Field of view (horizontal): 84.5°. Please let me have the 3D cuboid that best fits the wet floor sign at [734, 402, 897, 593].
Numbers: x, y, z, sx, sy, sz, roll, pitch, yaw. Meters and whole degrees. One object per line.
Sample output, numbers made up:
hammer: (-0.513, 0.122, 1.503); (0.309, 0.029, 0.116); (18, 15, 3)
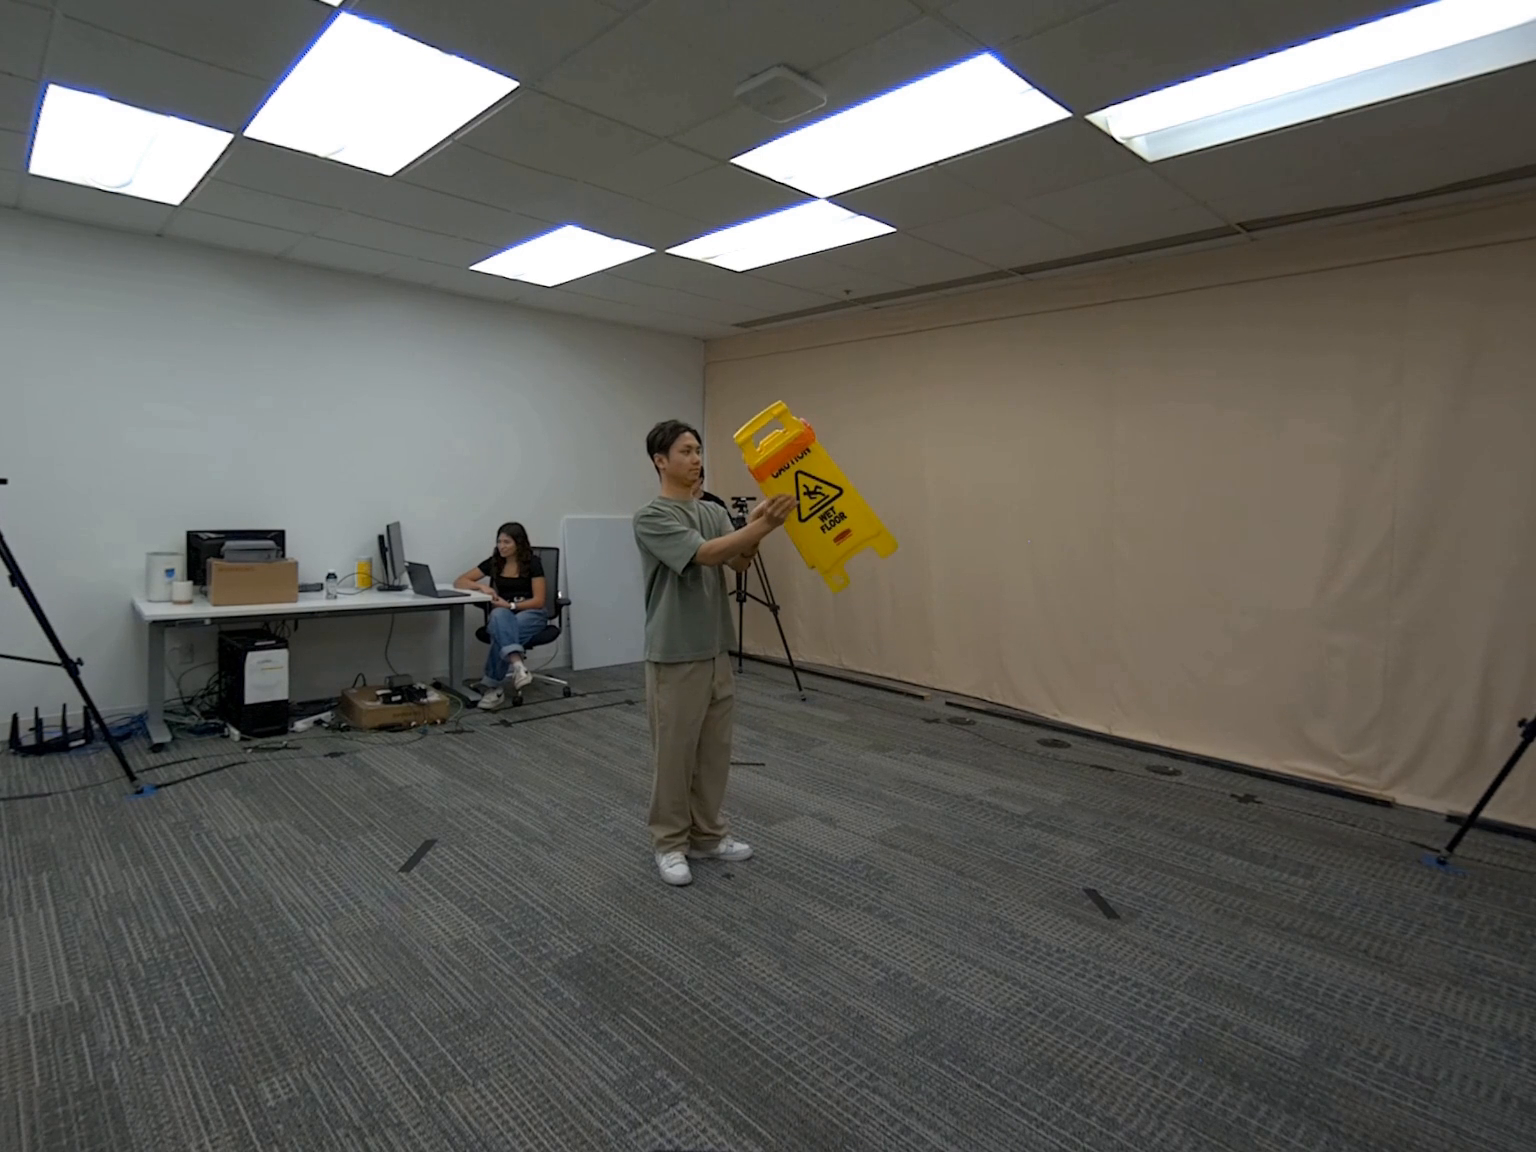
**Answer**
wet floor sign: (0.127, -0.281, 2.835); (0.282, 0.629, 0.297); (-37, 28, 1)
